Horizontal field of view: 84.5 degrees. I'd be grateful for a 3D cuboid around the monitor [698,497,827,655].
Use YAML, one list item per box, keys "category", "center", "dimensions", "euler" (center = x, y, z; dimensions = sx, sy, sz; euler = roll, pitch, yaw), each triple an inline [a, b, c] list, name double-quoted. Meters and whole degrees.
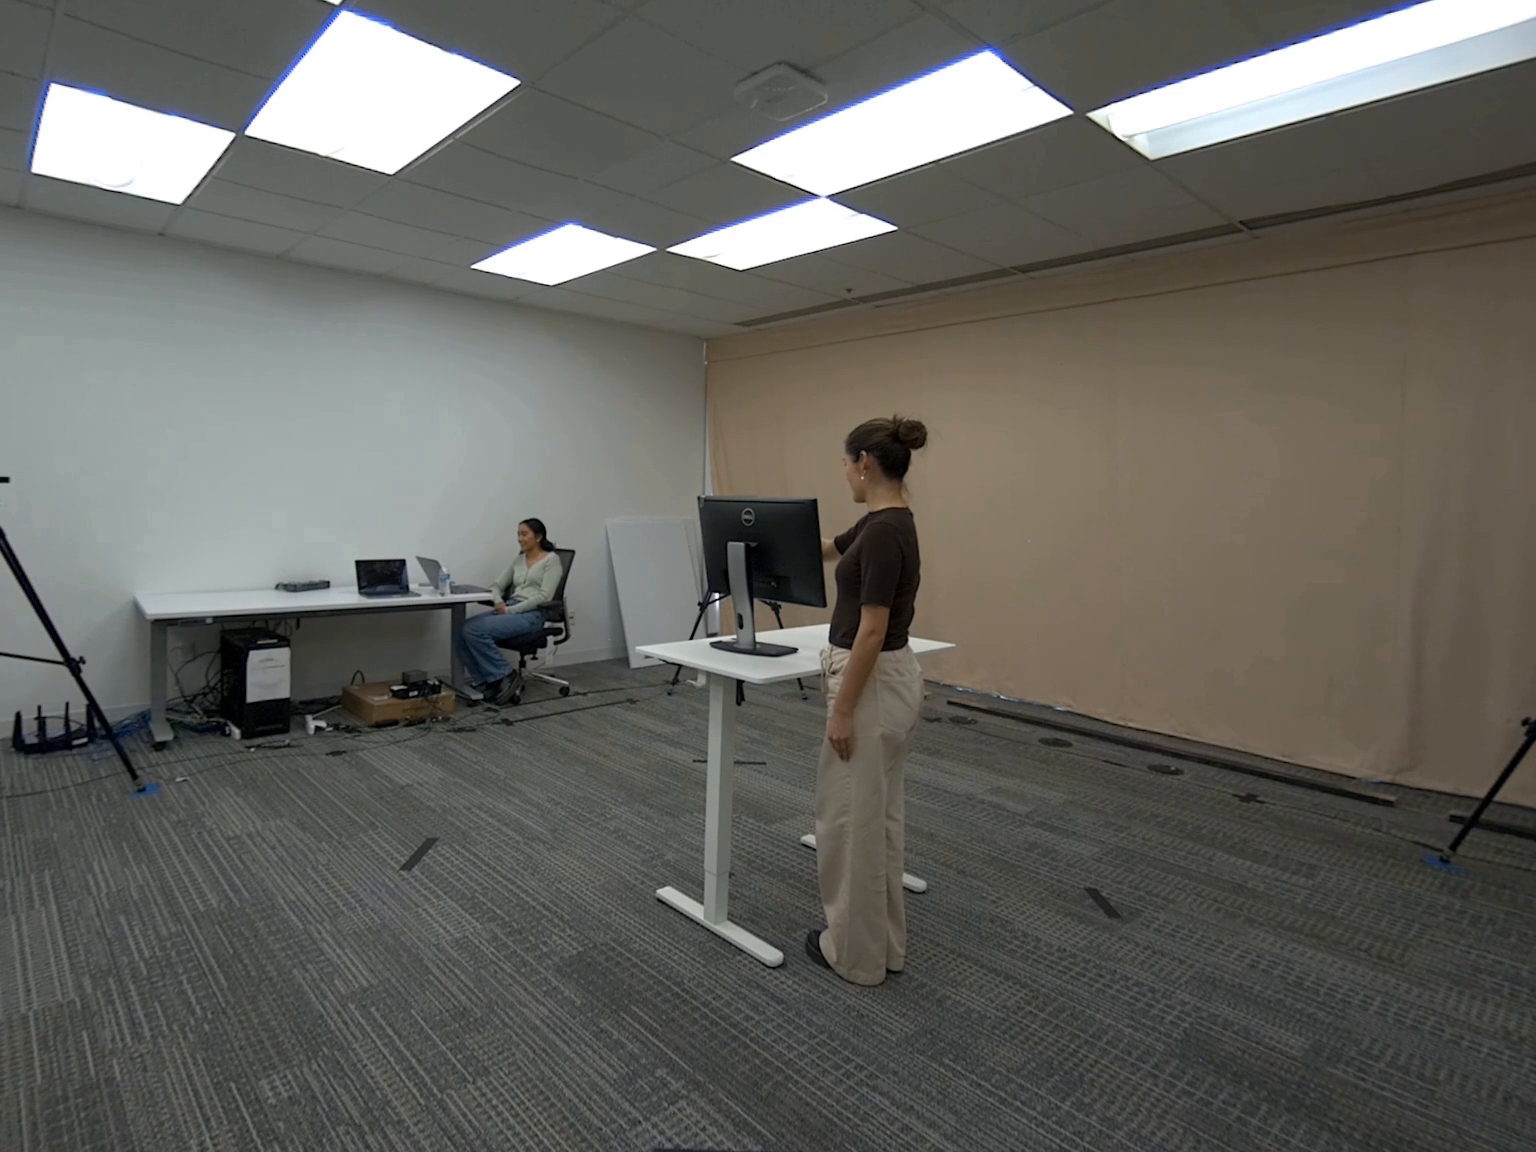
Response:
- category: "monitor"
  center: [-0.061, 0.000, 2.803]
  dimensions: [0.553, 0.521, 0.183]
  euler: [5, 5, 43]
